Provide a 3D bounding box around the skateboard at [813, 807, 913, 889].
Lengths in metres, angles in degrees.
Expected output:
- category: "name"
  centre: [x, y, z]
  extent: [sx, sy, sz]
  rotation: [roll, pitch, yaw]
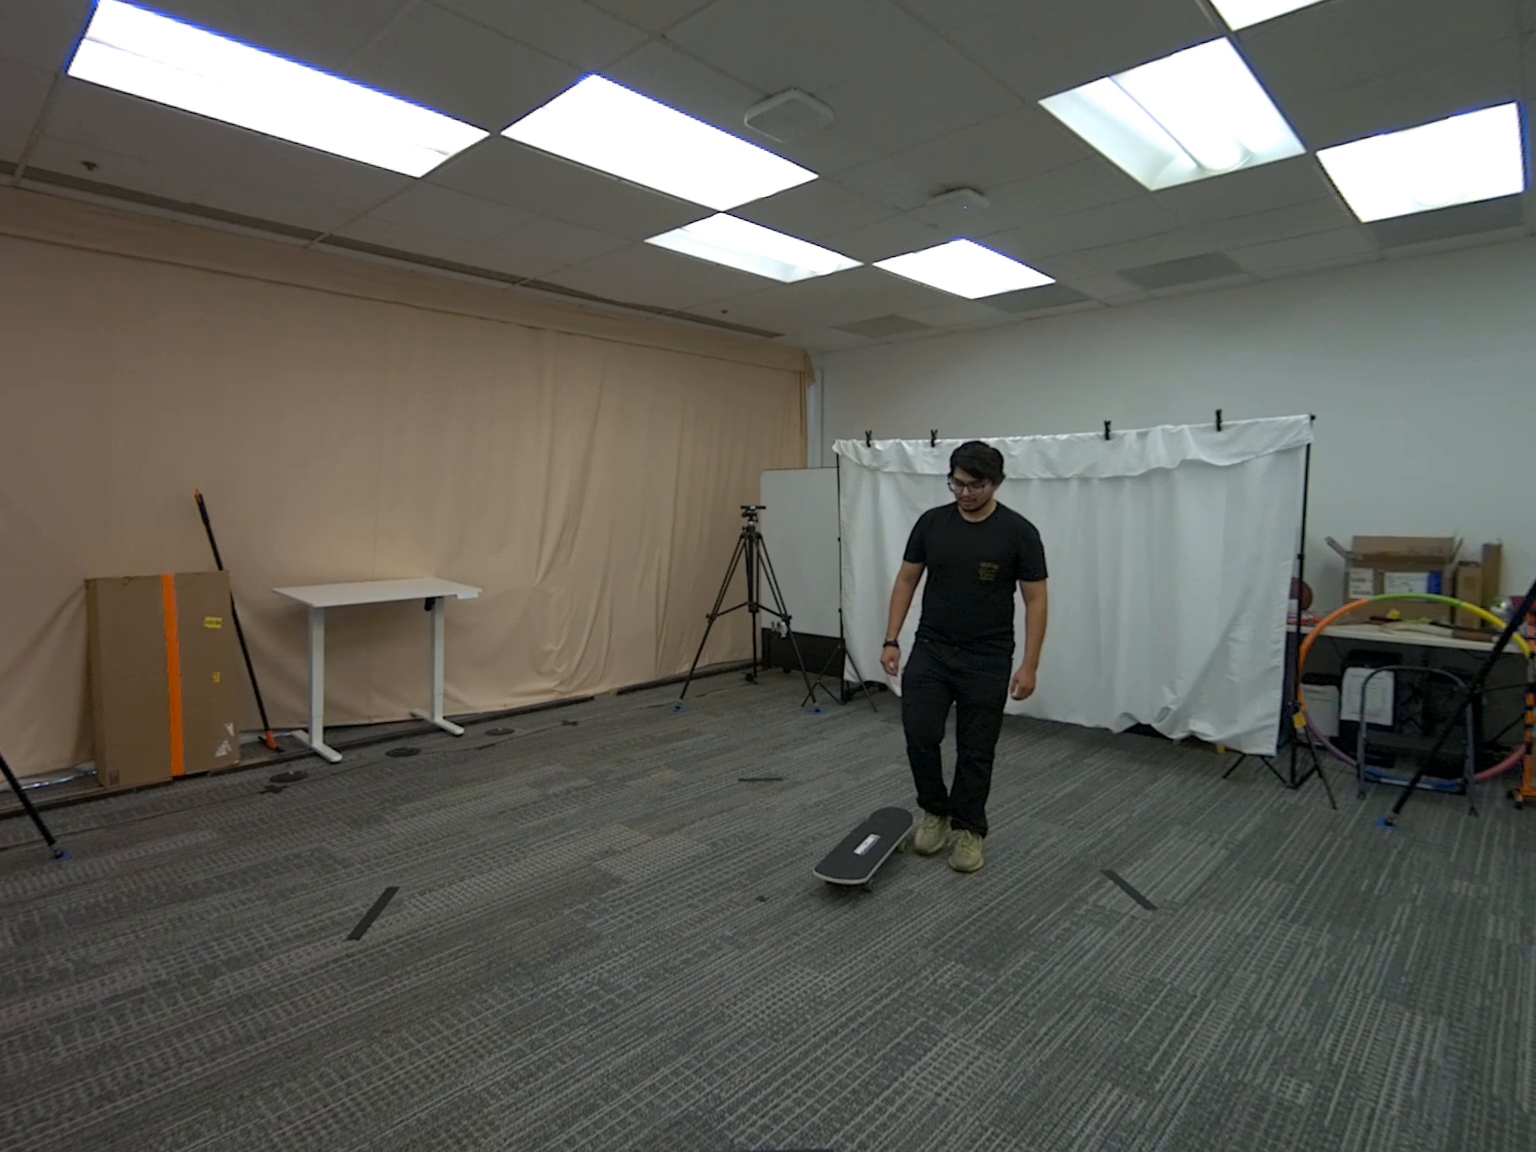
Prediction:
- category: "skateboard"
  centre: [0.385, 1.064, 3.236]
  extent: [0.199, 0.110, 0.766]
  rotation: [3, 5, 27]
